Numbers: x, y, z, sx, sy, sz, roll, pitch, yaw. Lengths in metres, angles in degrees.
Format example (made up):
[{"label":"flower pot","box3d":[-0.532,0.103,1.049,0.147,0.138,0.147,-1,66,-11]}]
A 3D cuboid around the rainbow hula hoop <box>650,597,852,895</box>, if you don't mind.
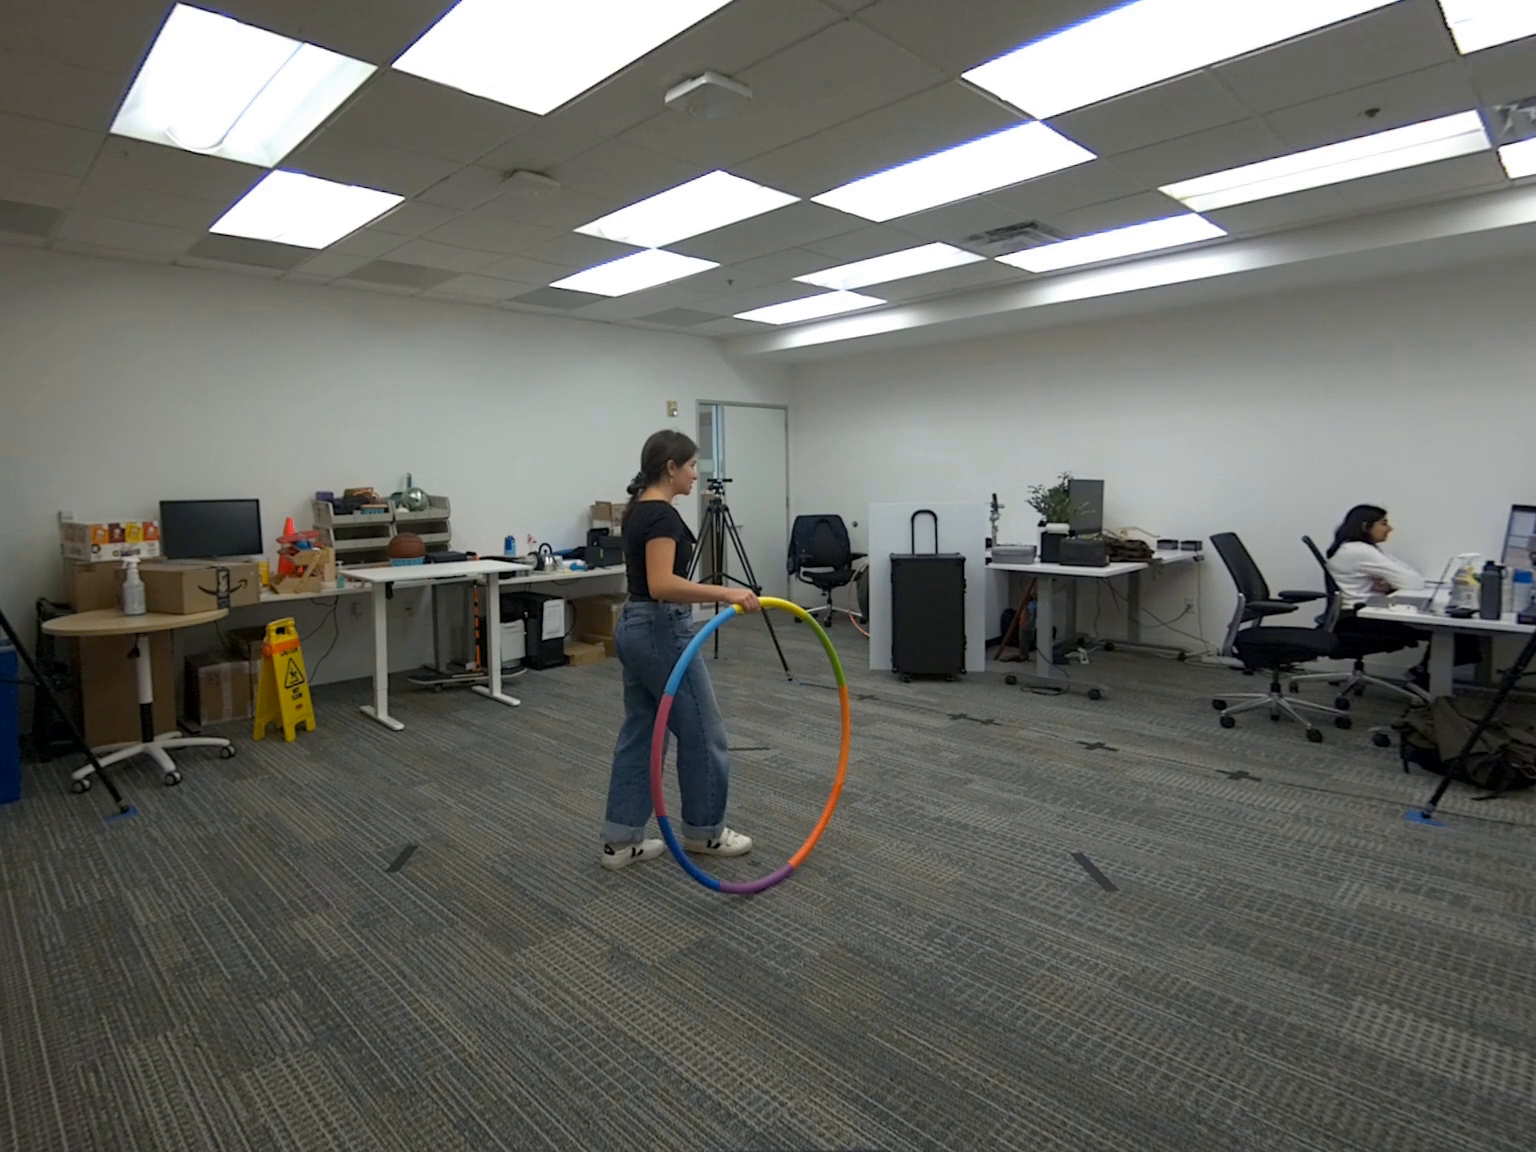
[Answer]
[{"label":"rainbow hula hoop","box3d":[-0.014,0.570,2.923,0.036,0.977,0.953,-1,3,43]}]
